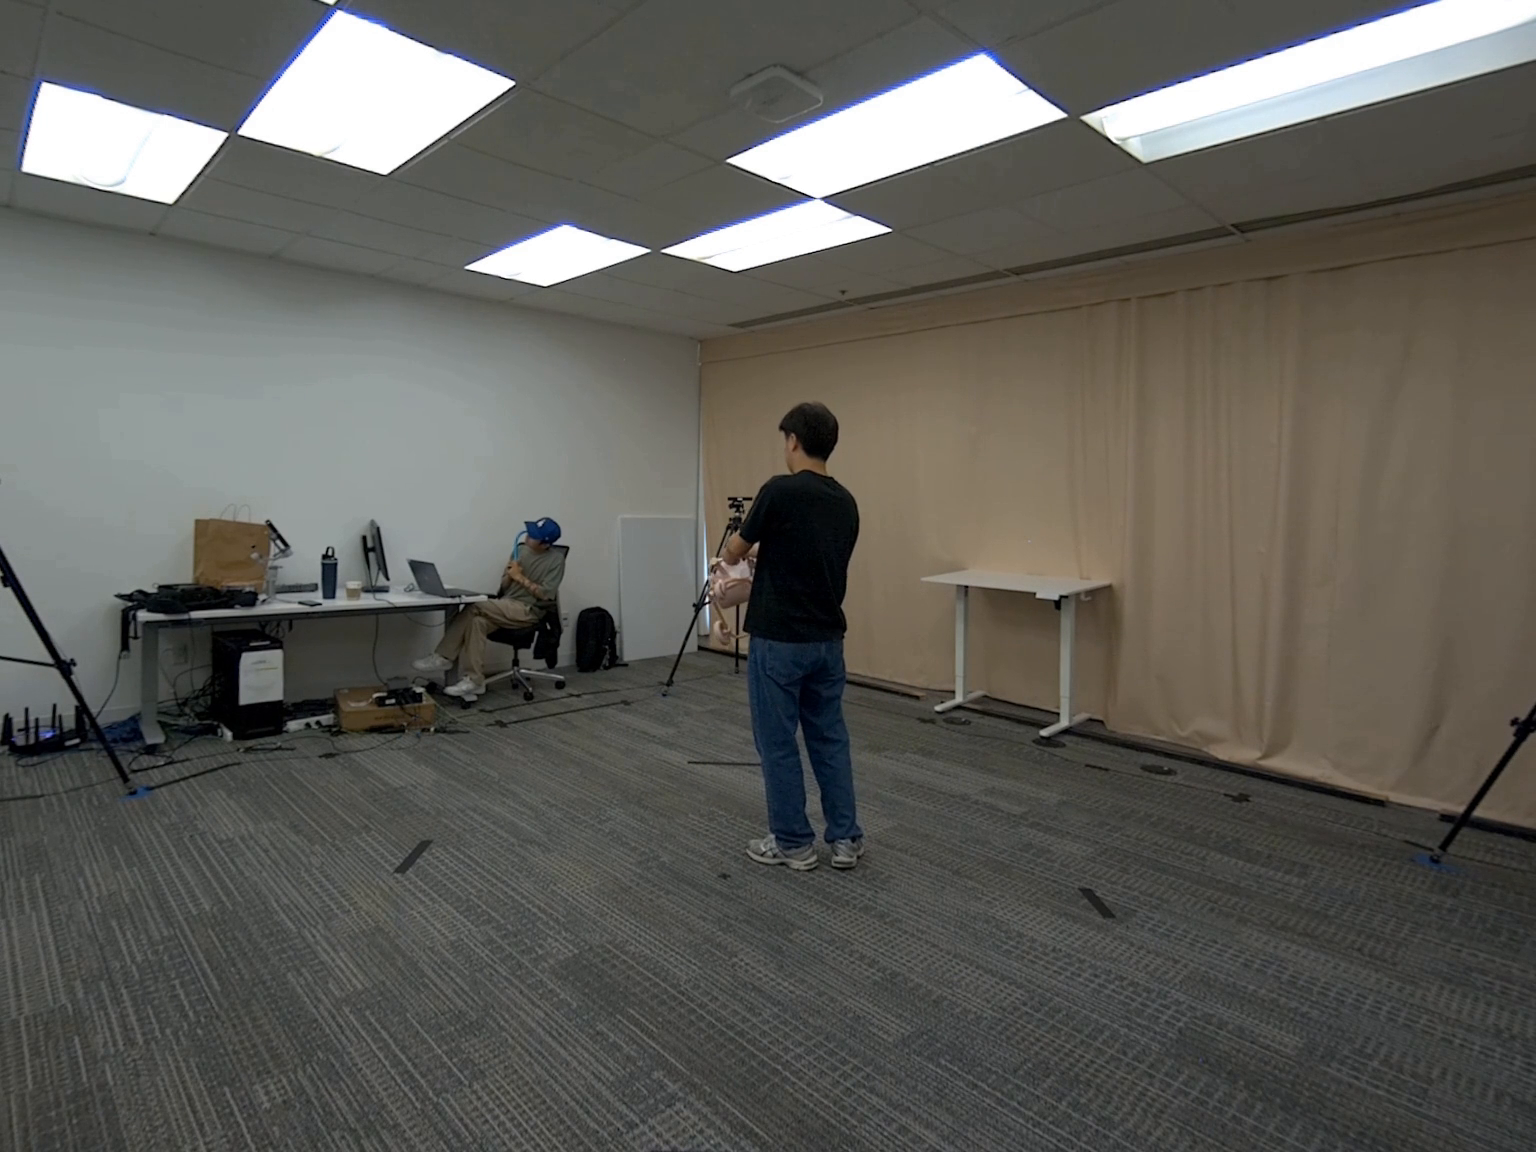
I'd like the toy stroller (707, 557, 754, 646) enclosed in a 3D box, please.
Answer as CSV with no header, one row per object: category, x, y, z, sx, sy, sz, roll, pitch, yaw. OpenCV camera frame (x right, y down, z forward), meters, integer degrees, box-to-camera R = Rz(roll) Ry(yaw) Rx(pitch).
toy stroller,-0.130,0.035,3.619,0.284,0.333,0.543,-23,28,20
